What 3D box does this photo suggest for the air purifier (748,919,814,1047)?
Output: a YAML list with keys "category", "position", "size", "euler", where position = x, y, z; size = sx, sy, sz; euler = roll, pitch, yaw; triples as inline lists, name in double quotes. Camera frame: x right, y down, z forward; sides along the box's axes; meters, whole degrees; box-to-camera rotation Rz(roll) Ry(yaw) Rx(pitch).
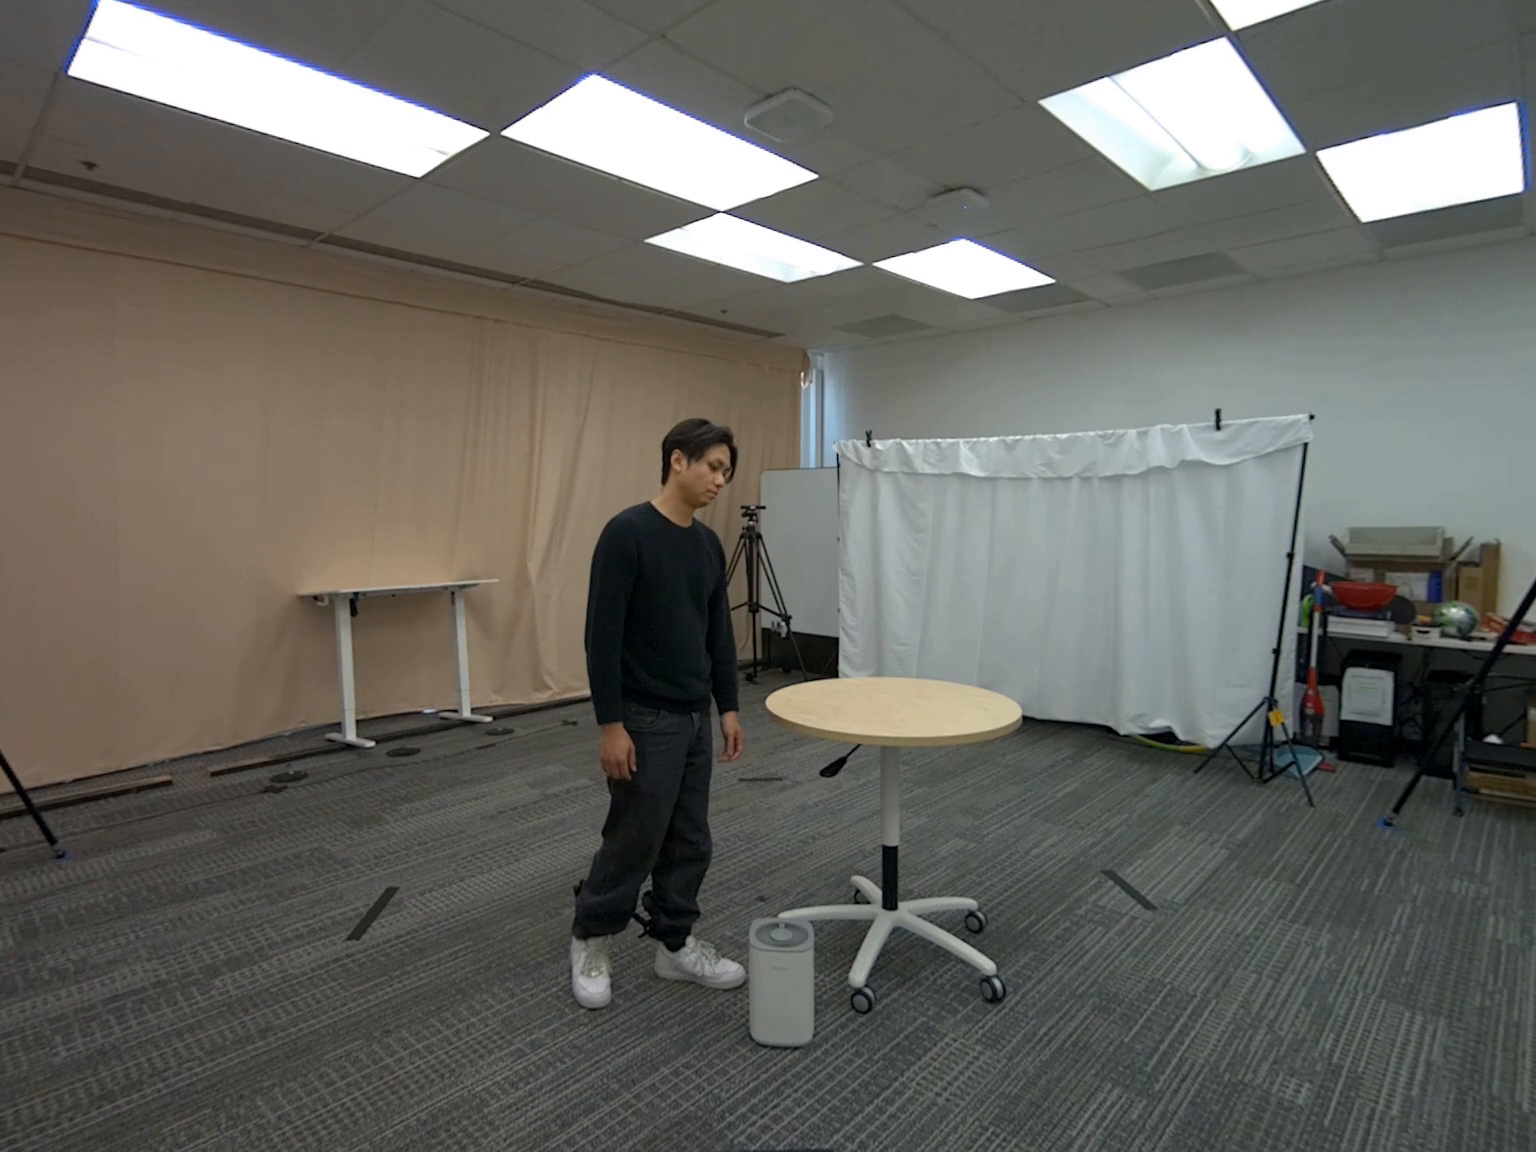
- category: "air purifier"
  position: [0.042, 1.075, 2.221]
  size: [0.171, 0.265, 0.171]
  euler: [0, 3, 2]
